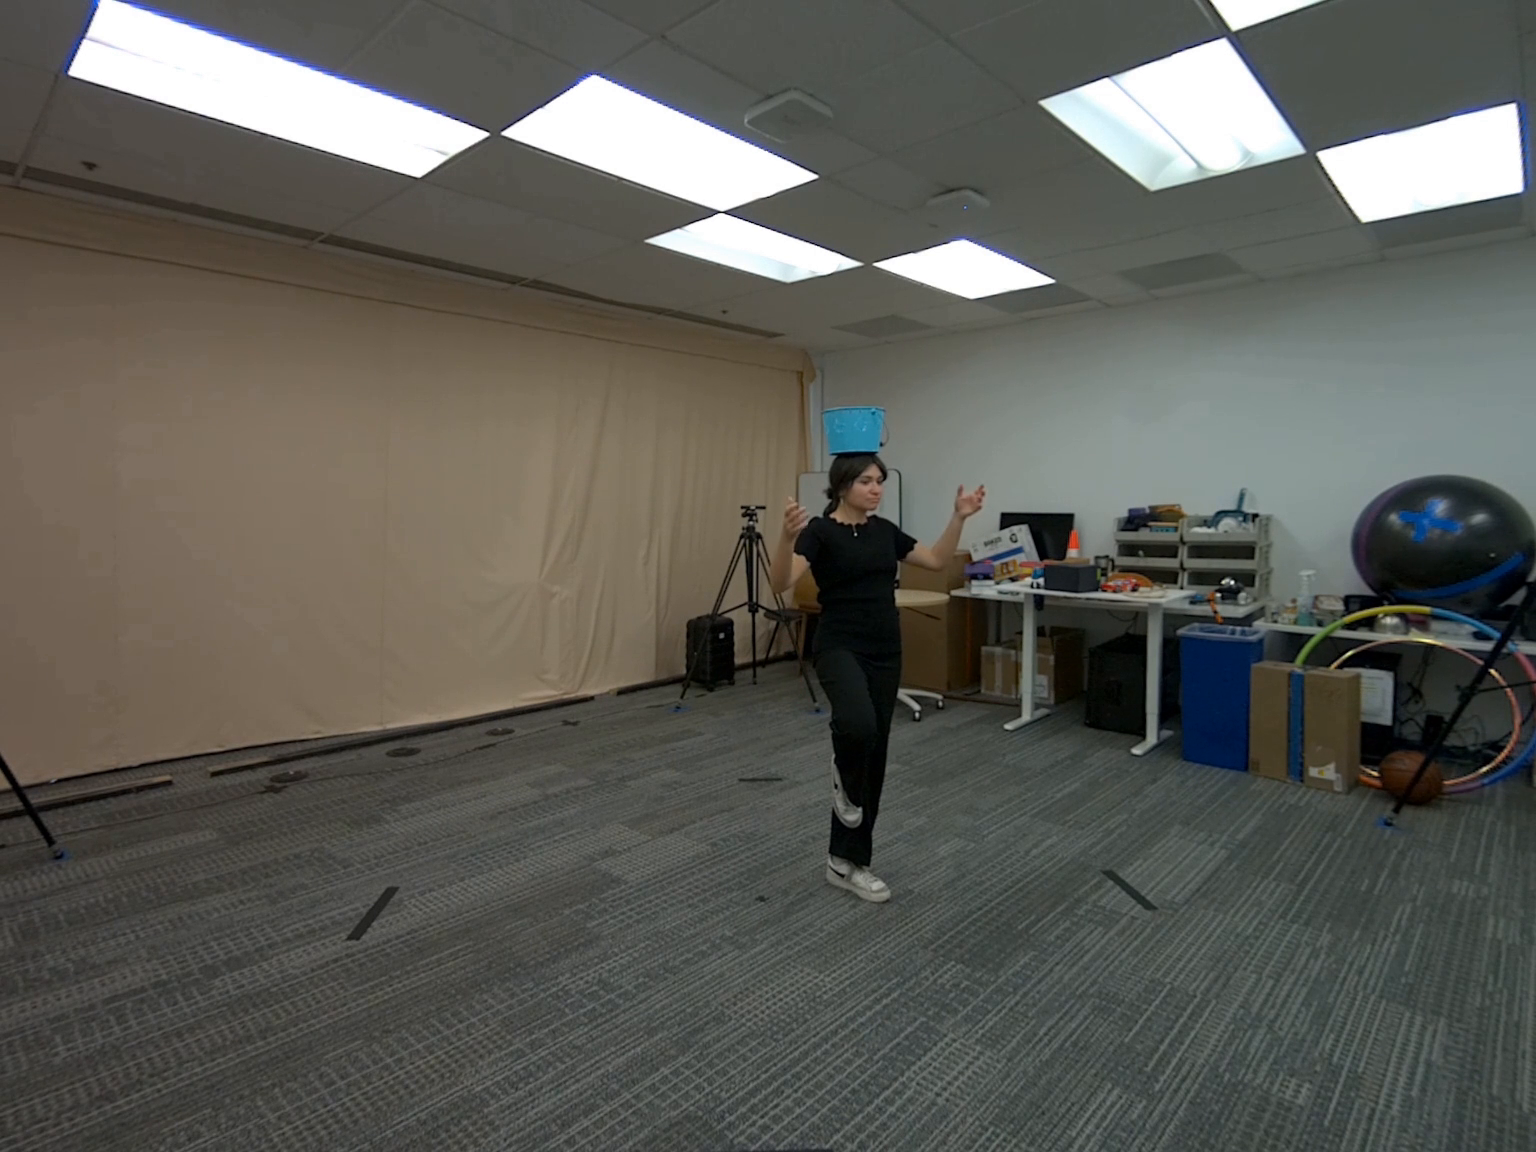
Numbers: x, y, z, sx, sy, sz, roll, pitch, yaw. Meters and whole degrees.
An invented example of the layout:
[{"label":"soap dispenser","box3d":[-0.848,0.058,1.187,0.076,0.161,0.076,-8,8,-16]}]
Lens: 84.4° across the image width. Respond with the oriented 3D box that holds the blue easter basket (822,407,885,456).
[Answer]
[{"label":"blue easter basket","box3d":[0.319,-0.521,3.046,0.243,0.155,0.244,-1,3,-2]}]
